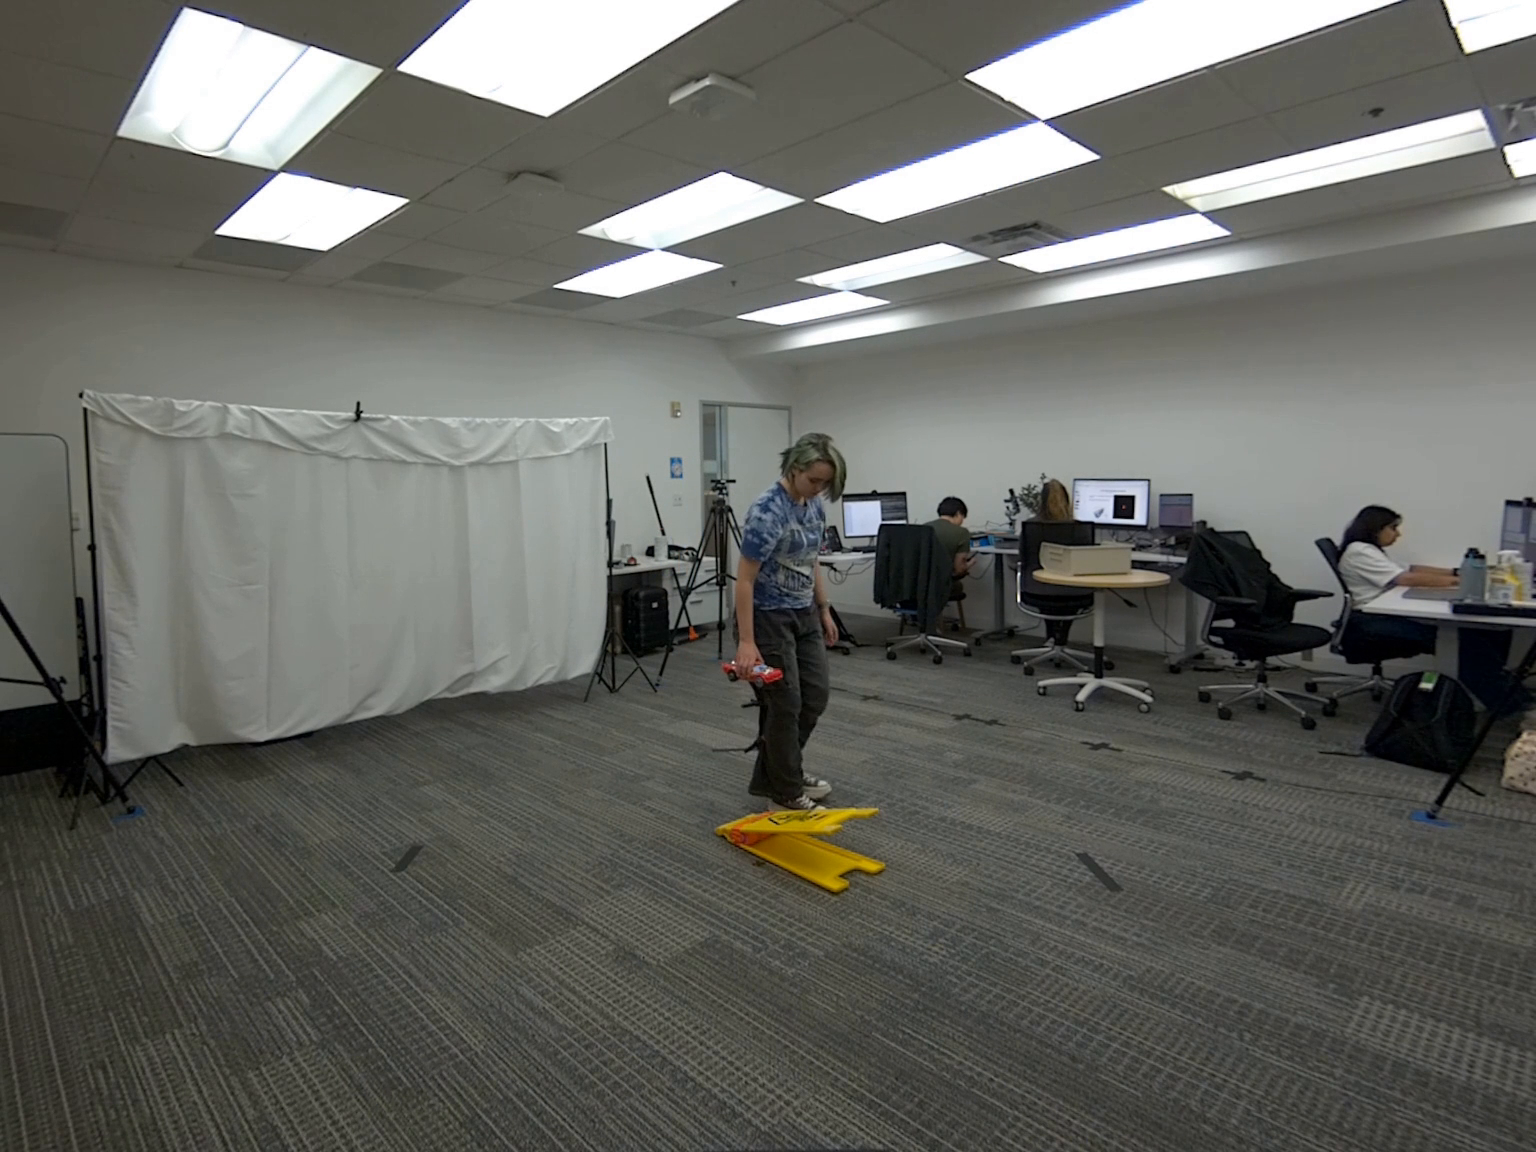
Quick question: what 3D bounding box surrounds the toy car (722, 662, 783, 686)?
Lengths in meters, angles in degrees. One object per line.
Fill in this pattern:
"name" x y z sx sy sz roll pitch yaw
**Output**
"toy car" -0.072 0.379 3.315 0.127 0.082 0.264 -11 20 -44
